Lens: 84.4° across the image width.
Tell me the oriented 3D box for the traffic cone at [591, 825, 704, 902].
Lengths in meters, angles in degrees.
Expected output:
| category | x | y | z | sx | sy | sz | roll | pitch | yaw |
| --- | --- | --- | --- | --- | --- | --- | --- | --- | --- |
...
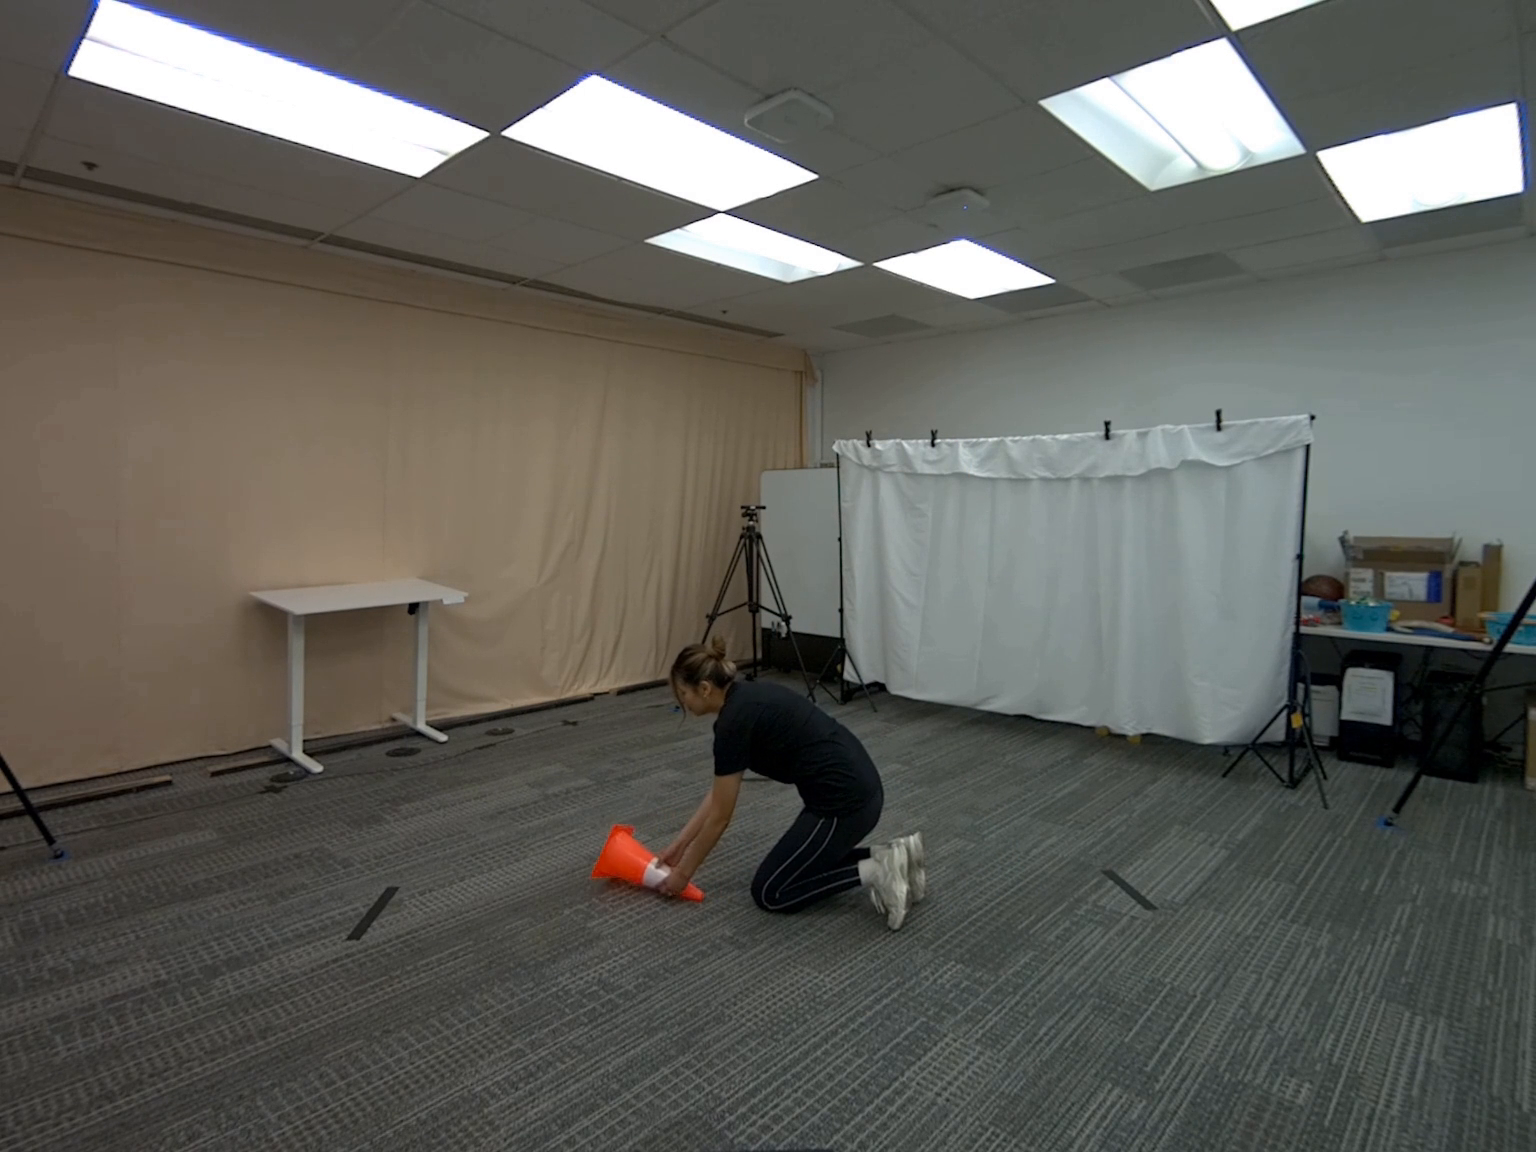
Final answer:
| category | x | y | z | sx | sy | sz | roll | pitch | yaw |
| --- | --- | --- | --- | --- | --- | --- | --- | --- | --- |
| traffic cone | -0.403 | 1.088 | 3.039 | 0.394 | 0.205 | 0.198 | 19 | -14 | 23 |
